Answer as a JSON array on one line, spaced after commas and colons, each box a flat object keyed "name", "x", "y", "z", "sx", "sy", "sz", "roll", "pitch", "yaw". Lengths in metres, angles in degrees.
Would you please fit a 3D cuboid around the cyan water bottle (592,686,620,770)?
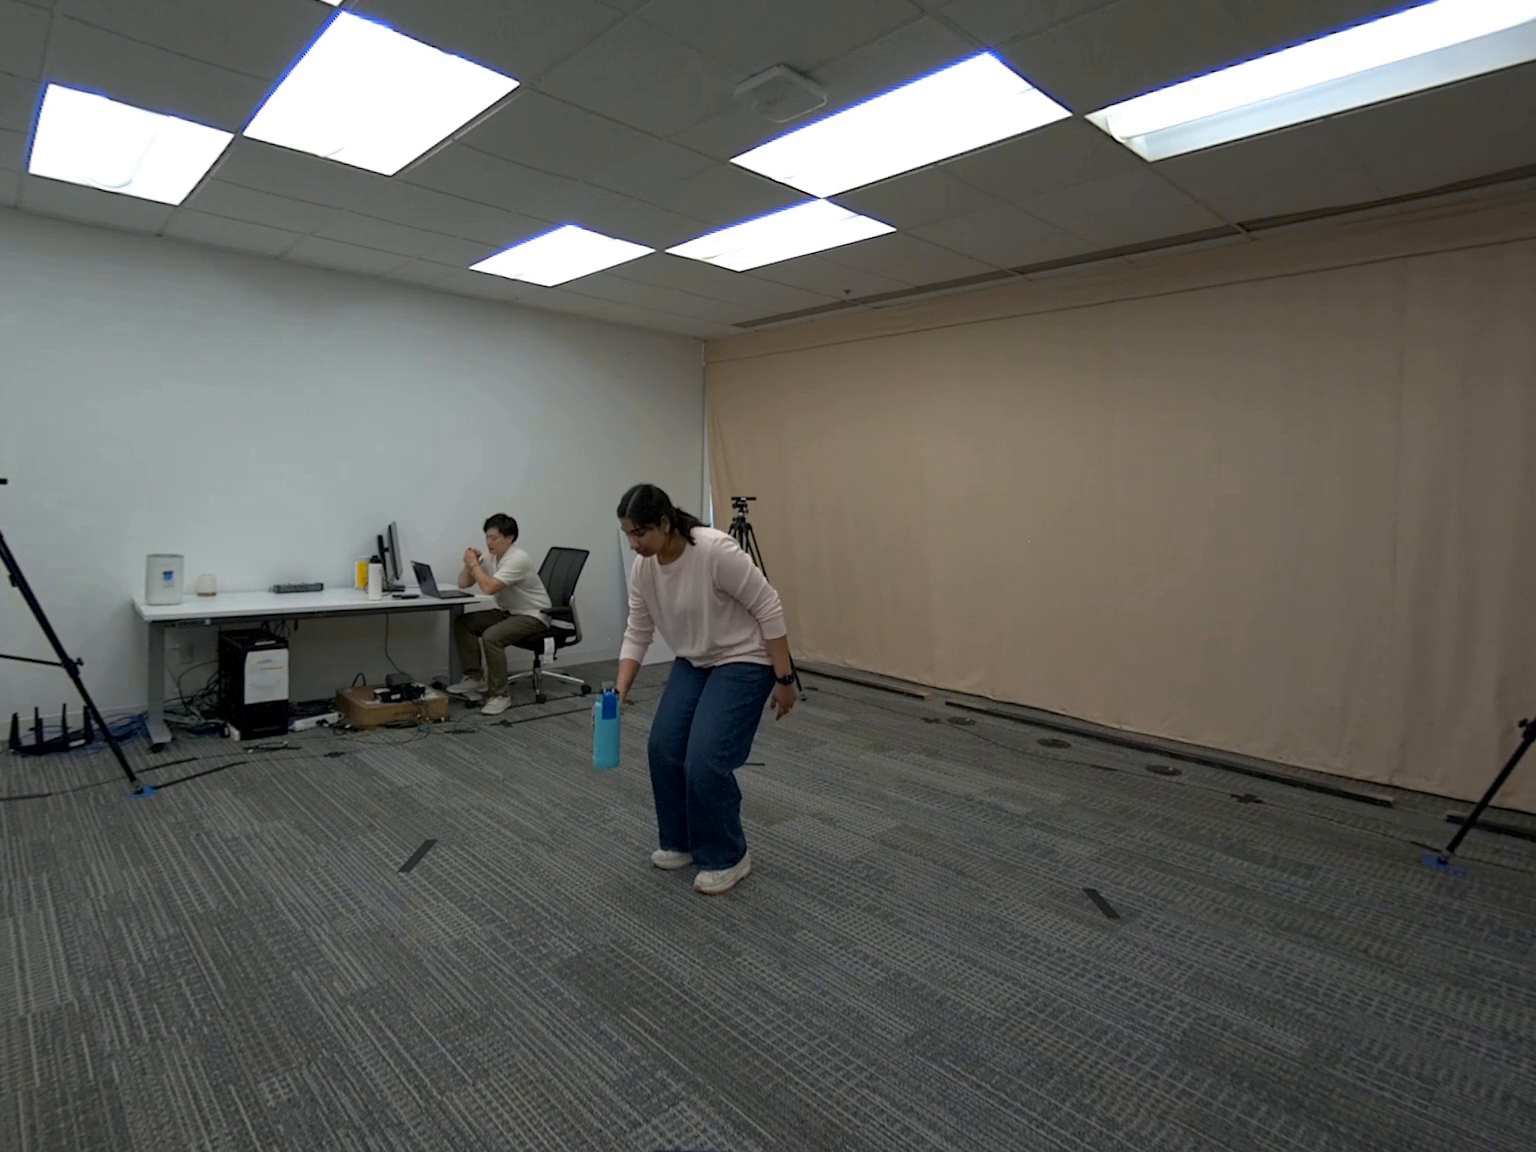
[{"name": "cyan water bottle", "x": -0.556, "y": 0.516, "z": 2.880, "sx": 0.092, "sy": 0.282, "sz": 0.093, "roll": 0, "pitch": 5, "yaw": -1}]
